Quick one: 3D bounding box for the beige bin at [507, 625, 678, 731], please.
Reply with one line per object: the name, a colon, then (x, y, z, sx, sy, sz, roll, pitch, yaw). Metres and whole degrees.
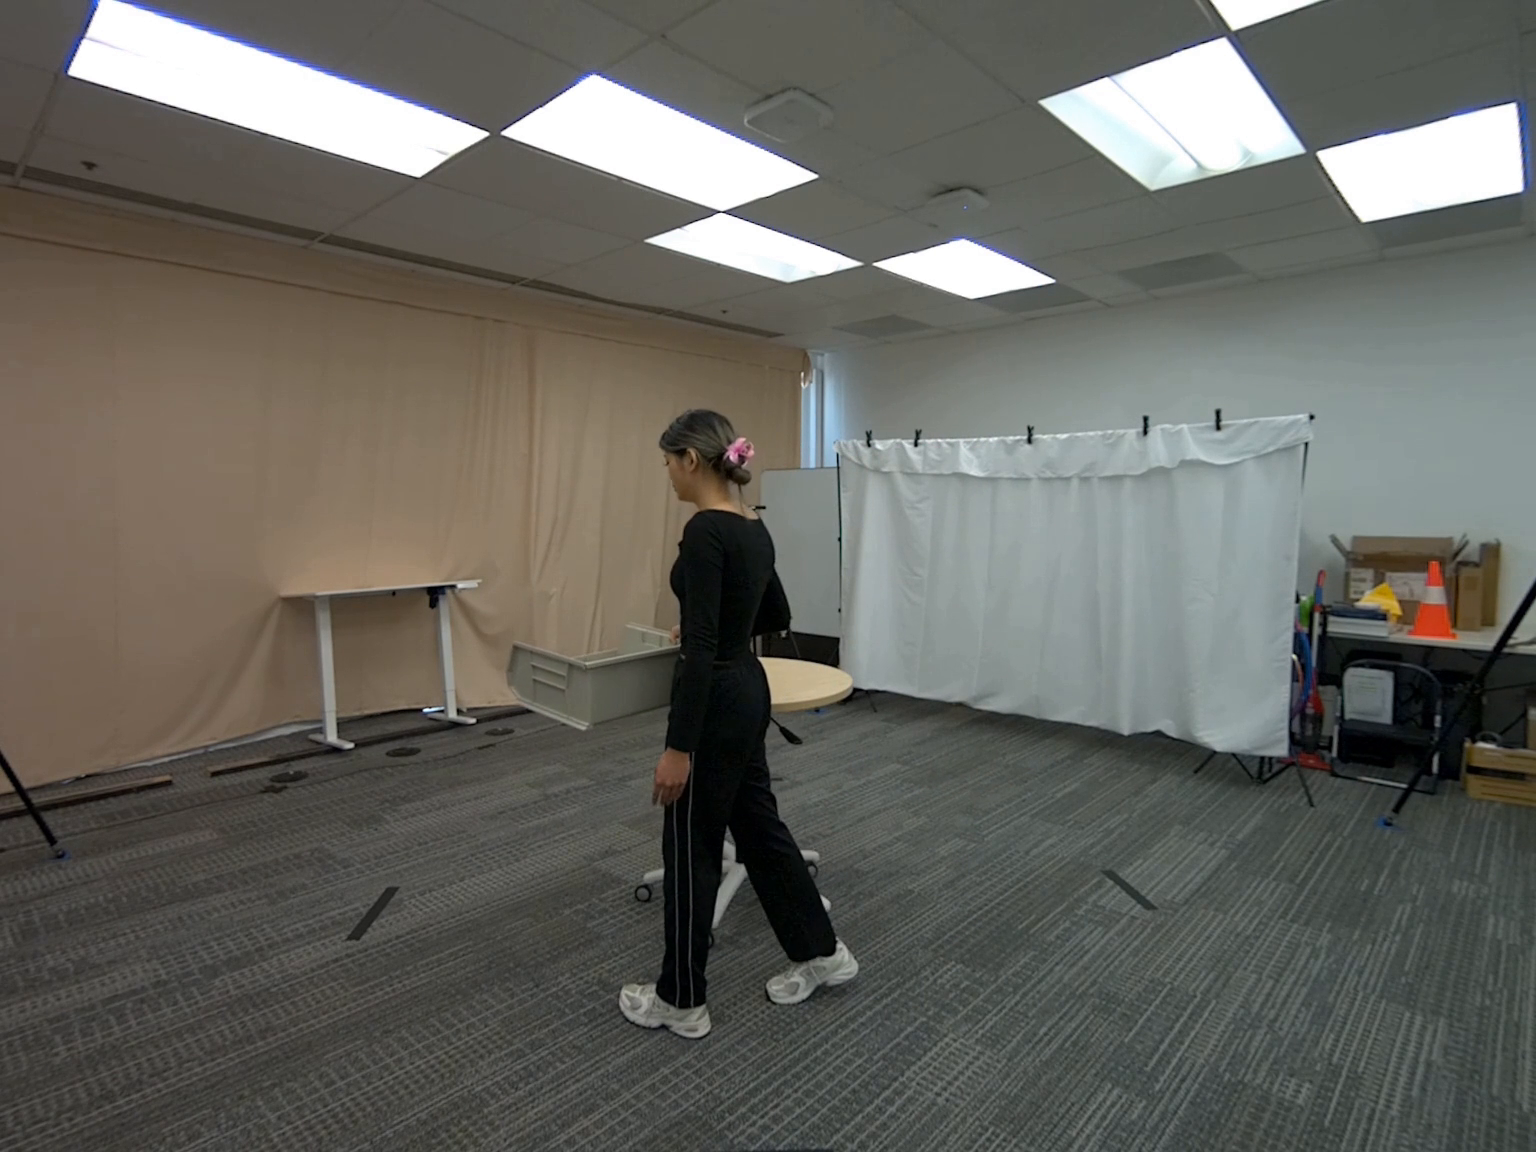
beige bin: (-0.460, 0.272, 2.398, 0.390, 0.188, 0.409, 10, 11, 42)
